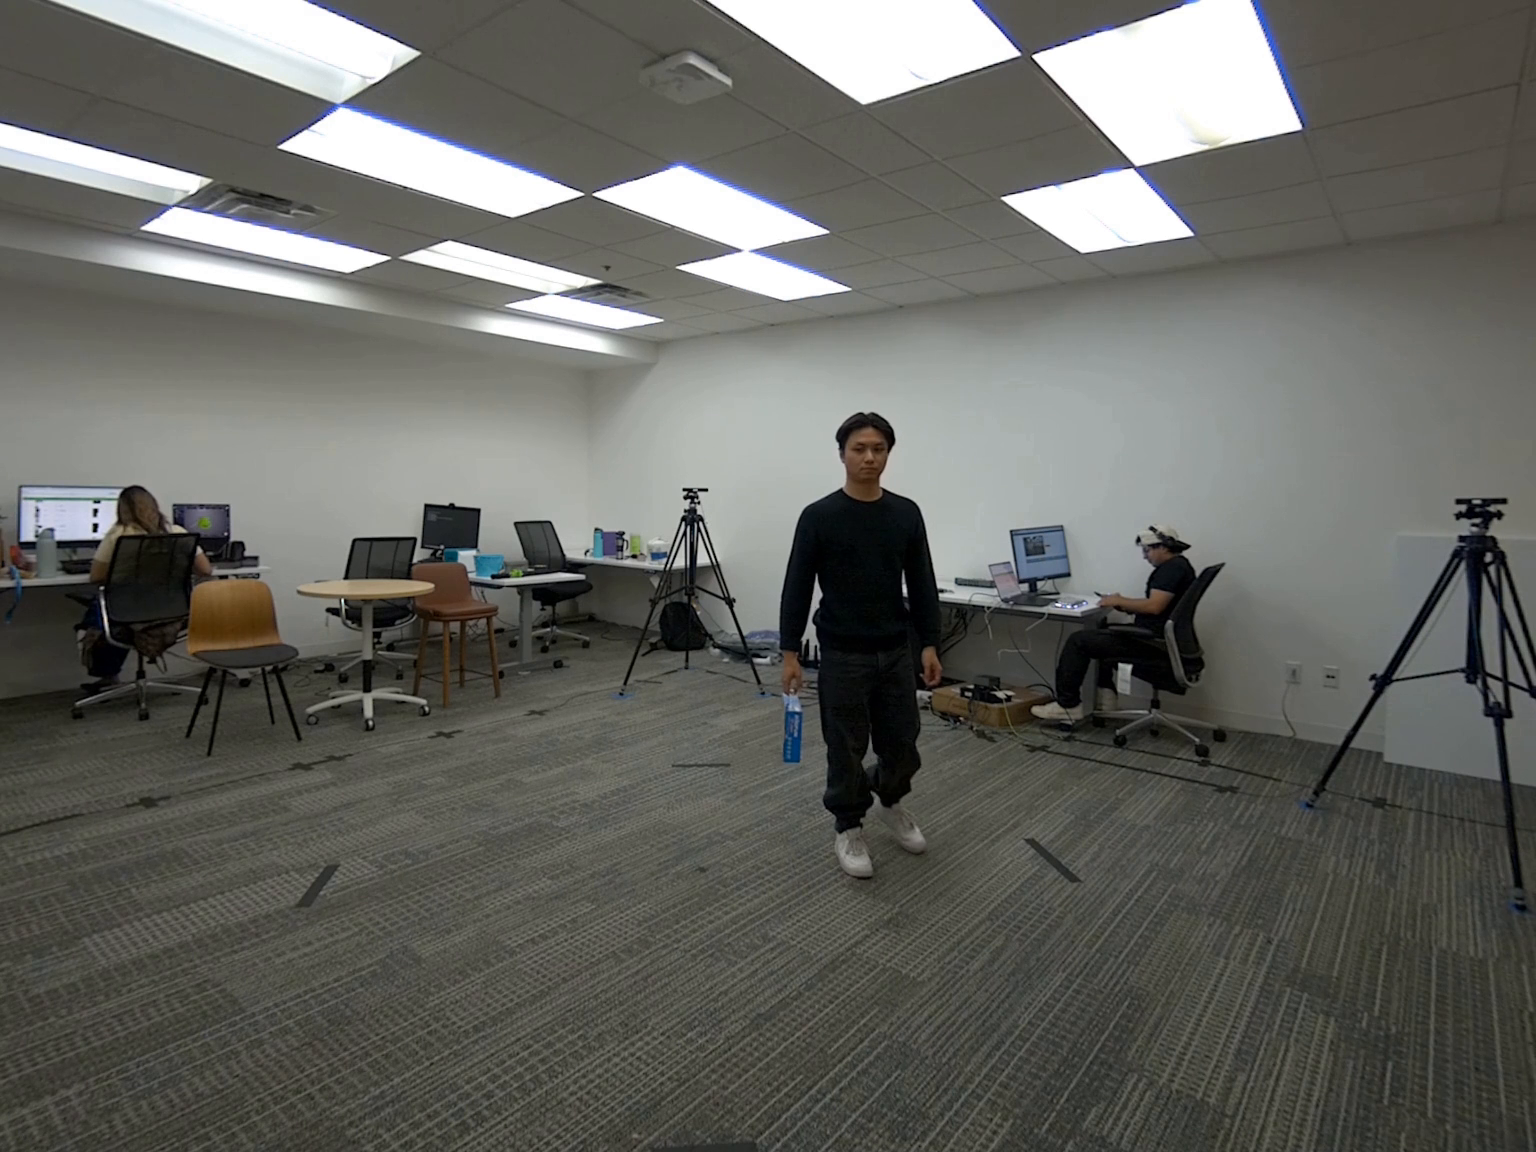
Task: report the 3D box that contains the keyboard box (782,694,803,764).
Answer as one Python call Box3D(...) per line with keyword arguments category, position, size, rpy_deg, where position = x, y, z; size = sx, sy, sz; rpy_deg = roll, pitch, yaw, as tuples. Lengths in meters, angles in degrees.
Box3D(category="keyboard box", position=(0.072, 0.532, 3.080), size=(0.059, 0.176, 0.435), rpy_deg=(3, -1, -1))
